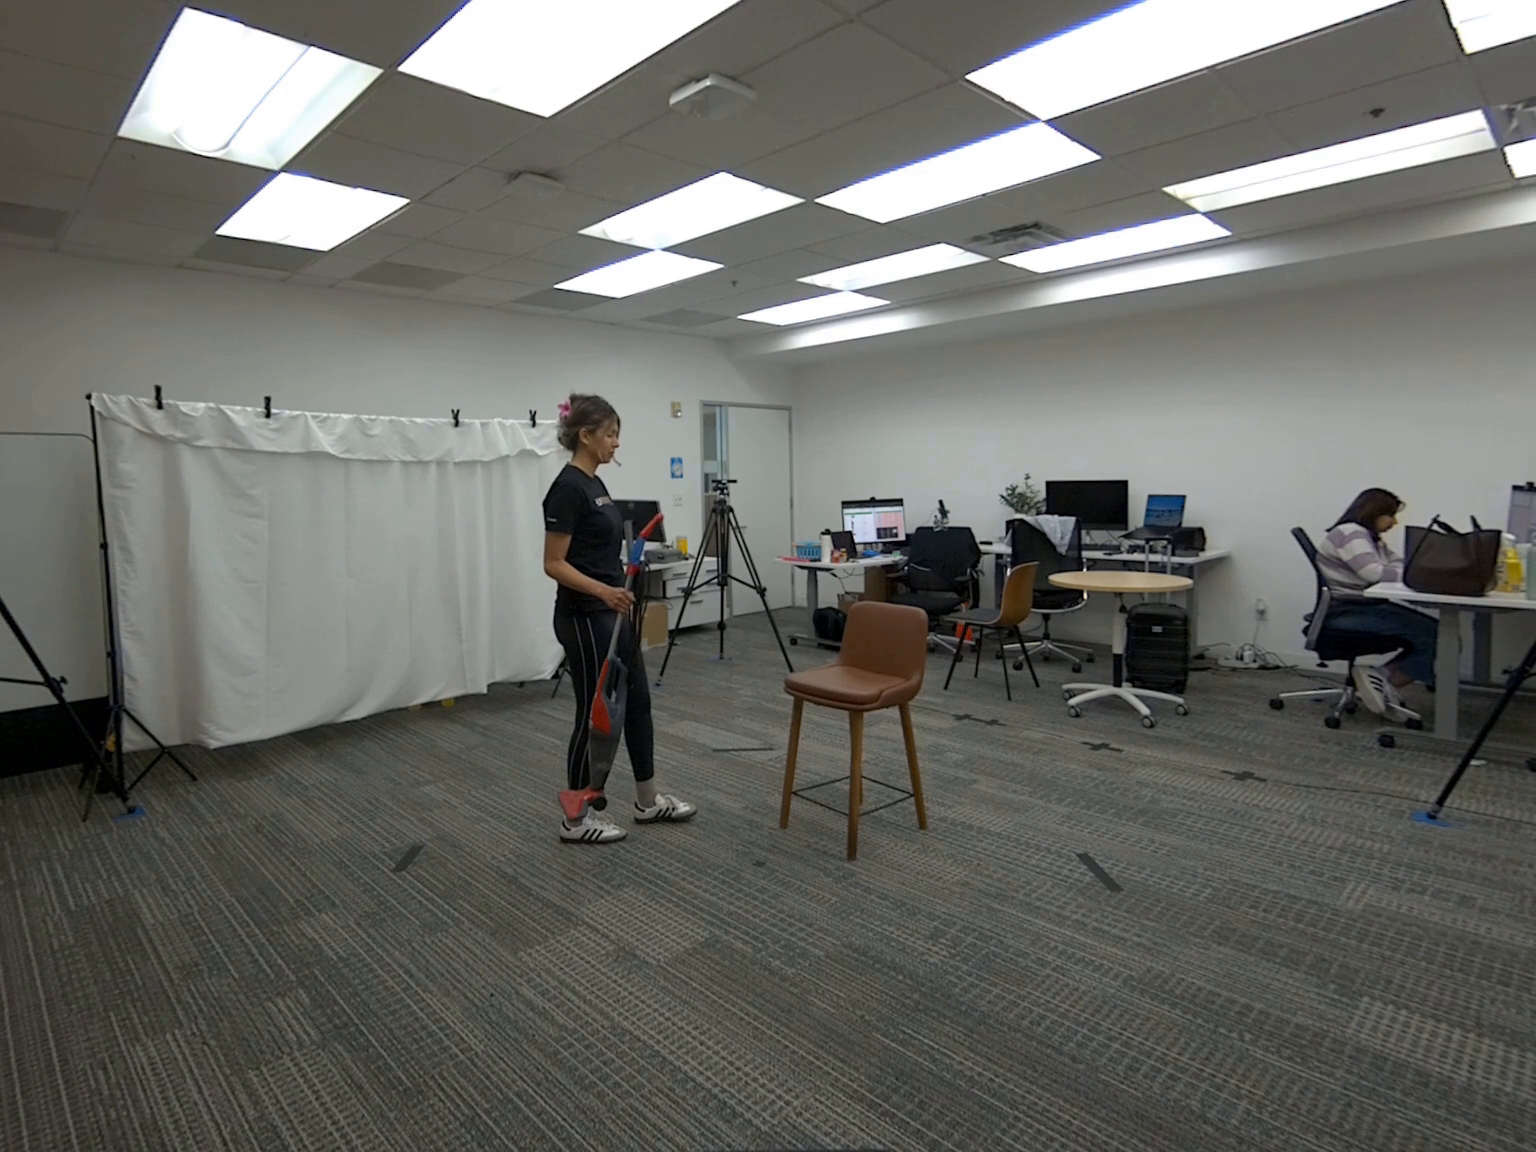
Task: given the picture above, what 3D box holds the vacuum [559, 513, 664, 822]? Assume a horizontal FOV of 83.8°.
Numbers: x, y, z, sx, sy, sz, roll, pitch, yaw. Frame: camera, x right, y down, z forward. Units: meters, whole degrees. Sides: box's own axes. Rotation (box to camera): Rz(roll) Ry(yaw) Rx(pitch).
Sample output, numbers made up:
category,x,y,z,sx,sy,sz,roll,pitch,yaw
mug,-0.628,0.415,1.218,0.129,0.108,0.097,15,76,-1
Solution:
category,x,y,z,sx,sy,sz,roll,pitch,yaw
vacuum,-0.522,0.299,3.000,0.140,1.052,0.259,15,-4,-29
